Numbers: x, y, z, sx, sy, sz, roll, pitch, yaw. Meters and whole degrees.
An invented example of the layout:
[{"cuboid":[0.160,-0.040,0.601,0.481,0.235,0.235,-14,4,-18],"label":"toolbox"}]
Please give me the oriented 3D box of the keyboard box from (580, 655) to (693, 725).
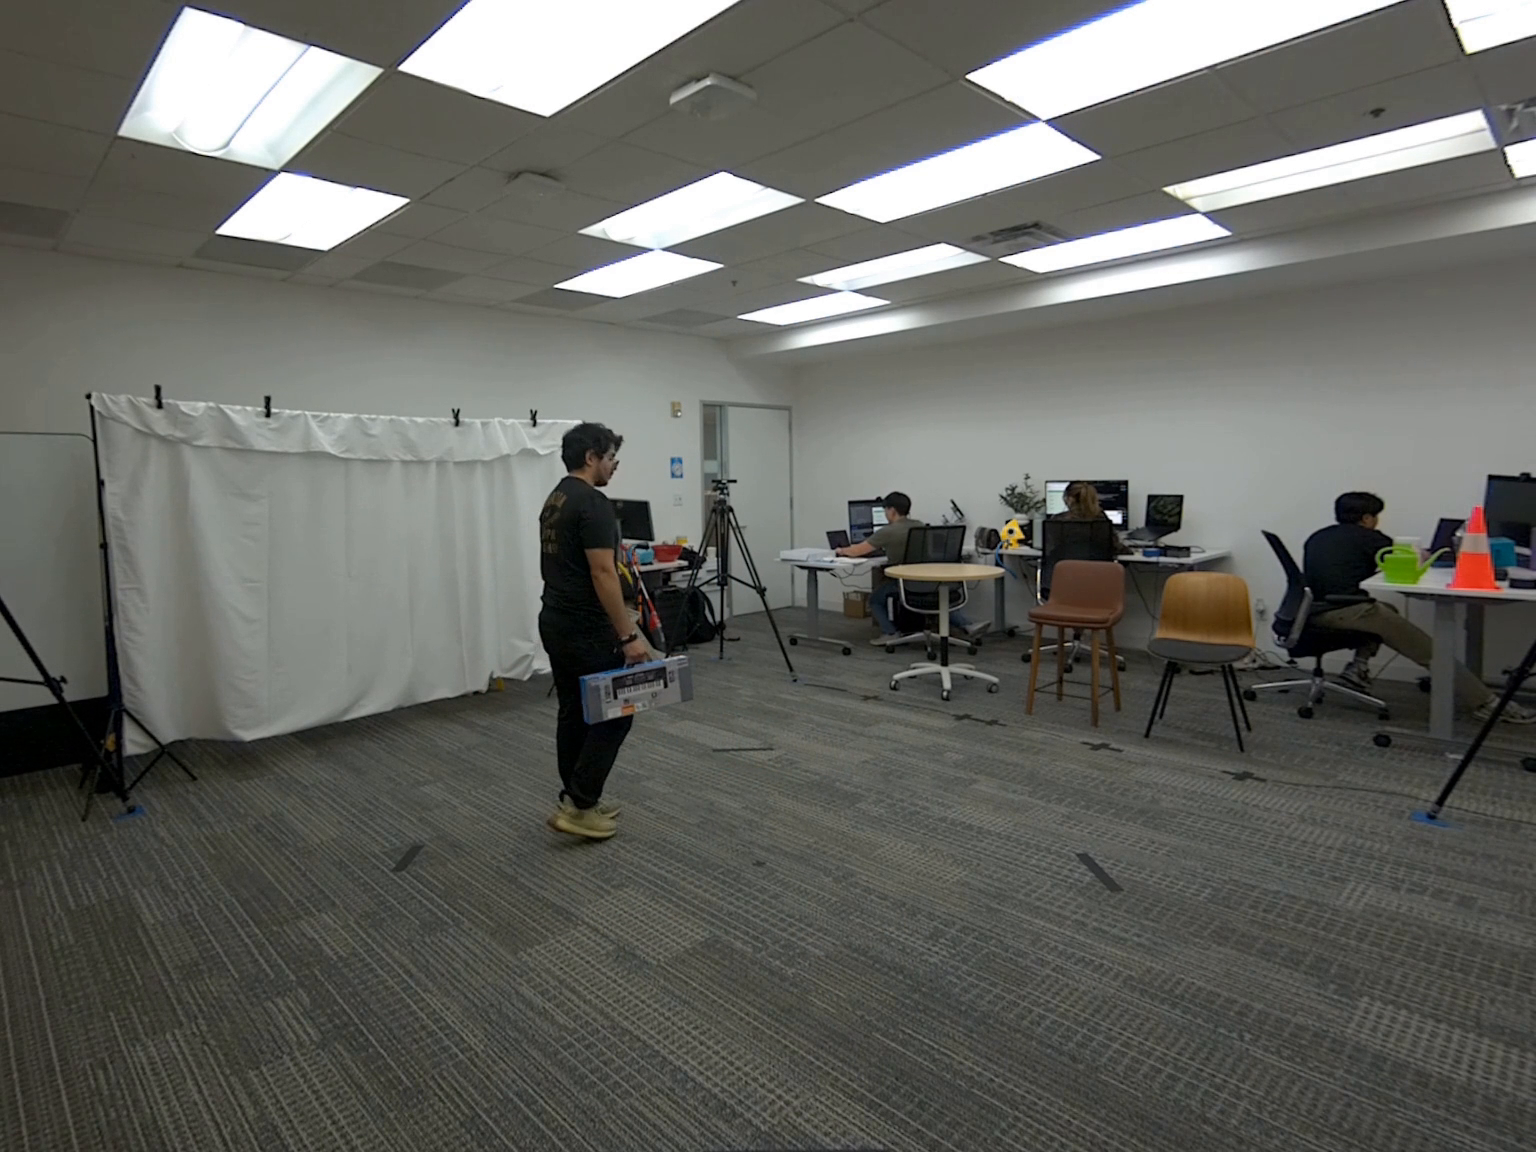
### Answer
[{"cuboid":[-0.500,0.434,3.267,0.428,0.175,0.060,-8,6,-27],"label":"keyboard box"}]
